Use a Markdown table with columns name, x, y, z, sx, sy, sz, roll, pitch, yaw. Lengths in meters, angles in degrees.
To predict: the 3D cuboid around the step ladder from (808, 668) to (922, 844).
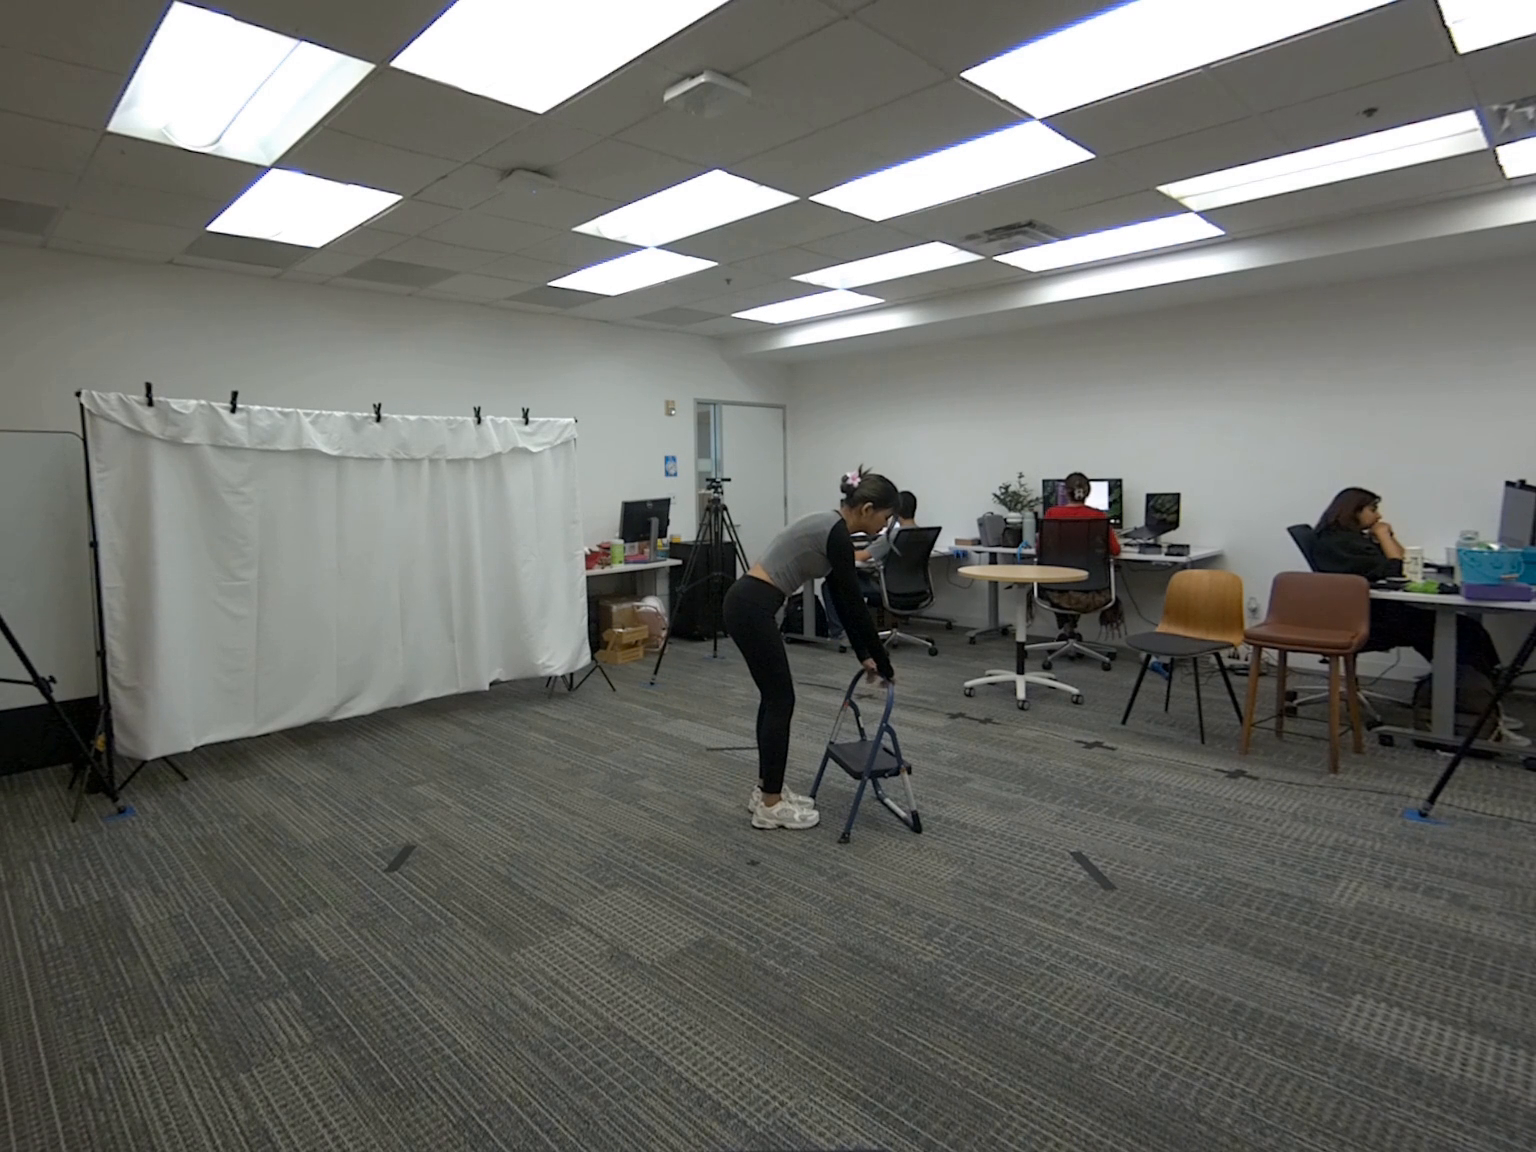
| name | x | y | z | sx | sy | sz | roll | pitch | yaw |
| --- | --- | --- | --- | --- | --- | --- | --- | --- | --- |
| step ladder | 0.383 | 0.687 | 3.479 | 0.344 | 0.604 | 0.438 | -2 | 4 | -15 |
